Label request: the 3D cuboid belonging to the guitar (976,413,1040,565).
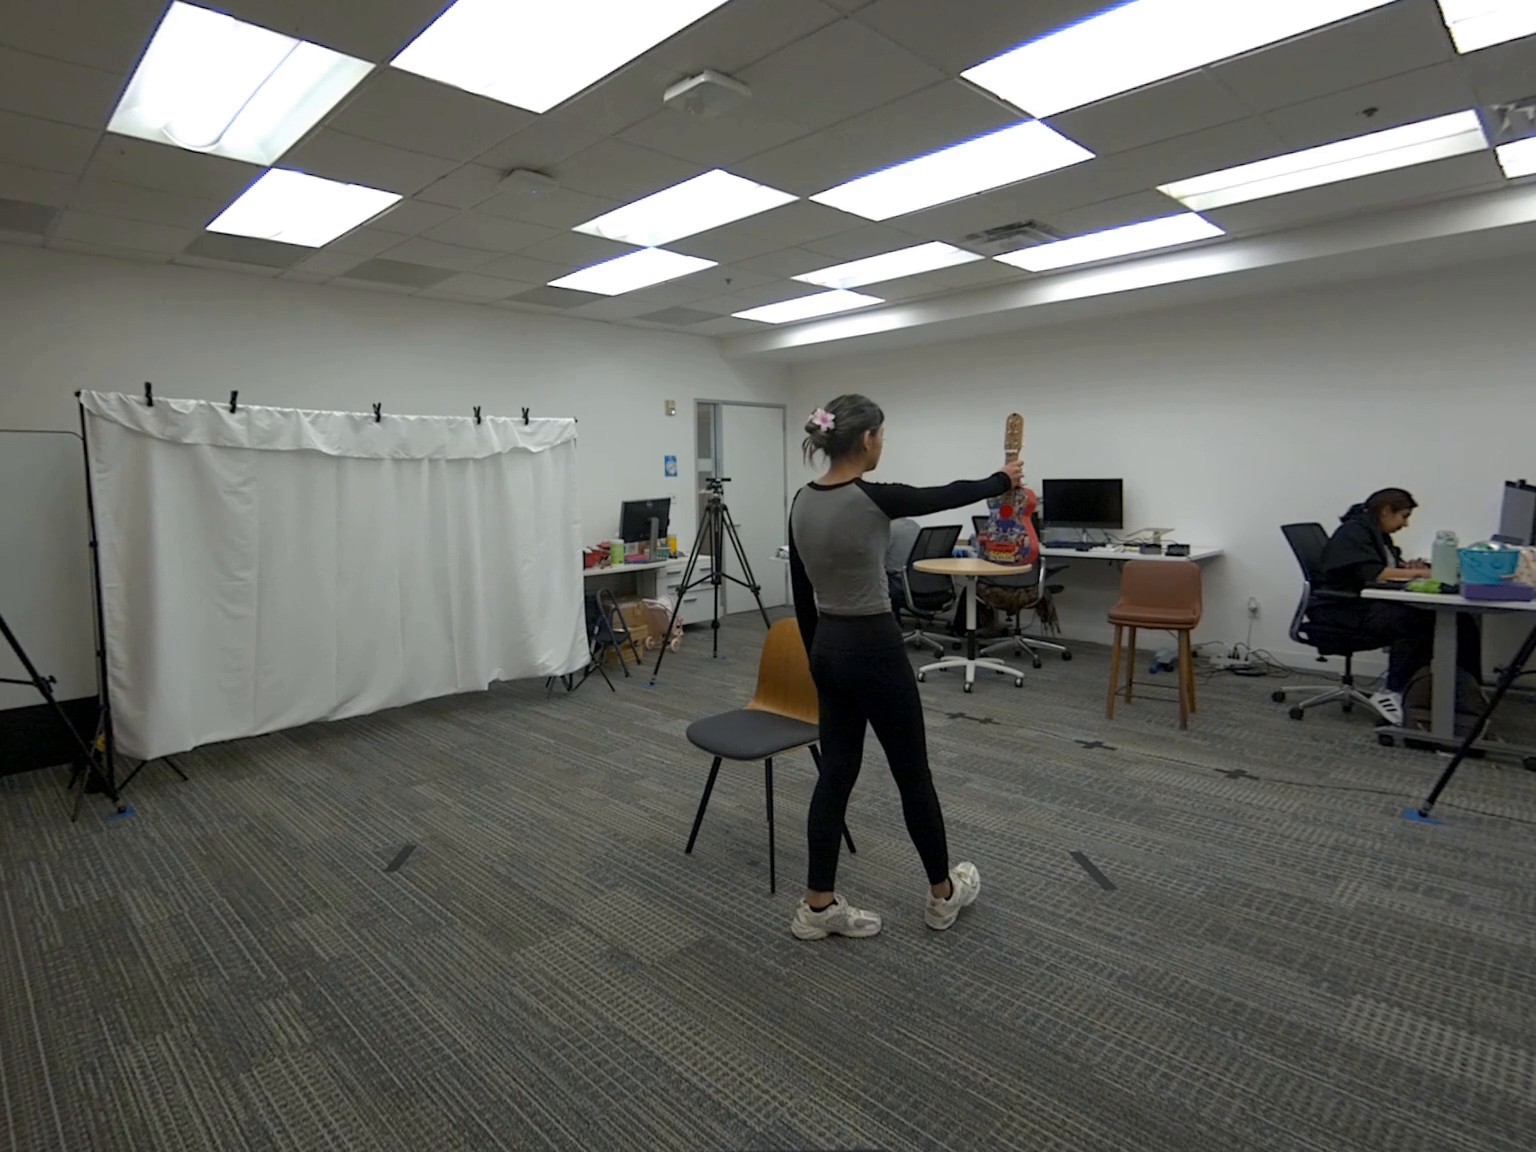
[{"bbox_3d":[0.829,-0.277,2.795,0.200,0.496,0.068,16,5,42],"label":"guitar"}]
